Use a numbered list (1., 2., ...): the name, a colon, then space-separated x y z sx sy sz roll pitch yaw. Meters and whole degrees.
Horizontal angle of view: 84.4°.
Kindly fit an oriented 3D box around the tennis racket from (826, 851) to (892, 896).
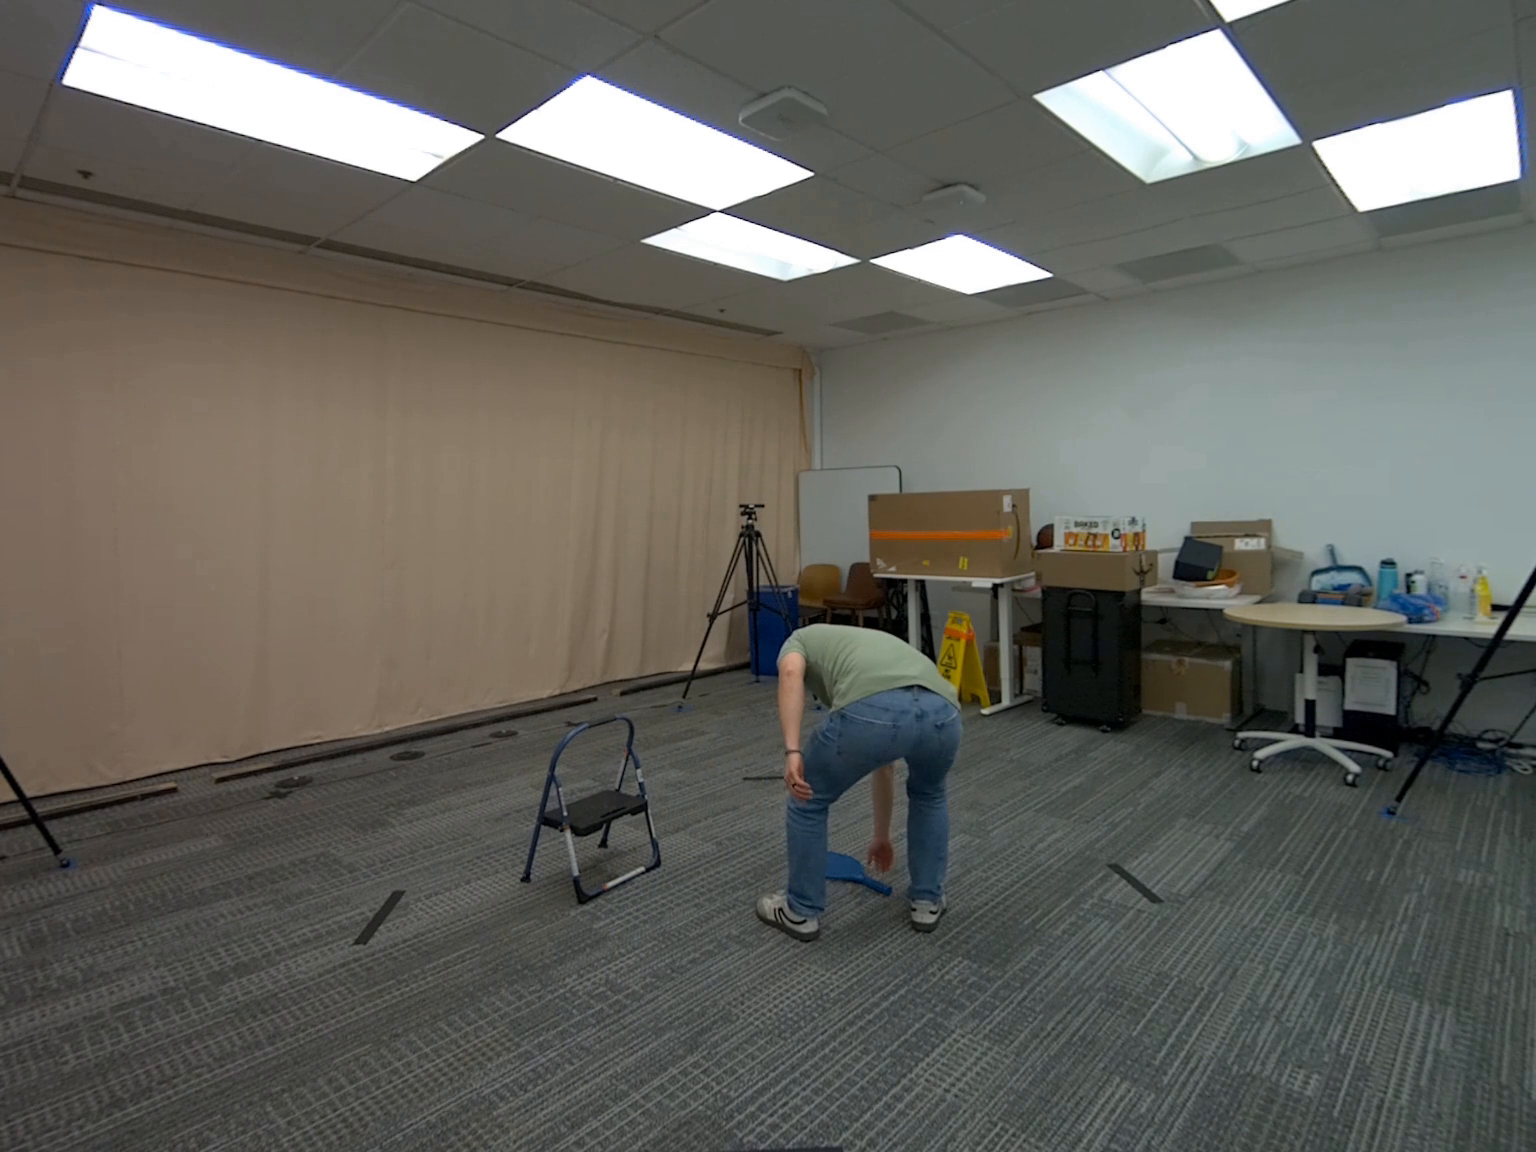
1. tennis racket: 0.298 1.108 3.155 0.207 0.032 0.447 -4 5 -39
